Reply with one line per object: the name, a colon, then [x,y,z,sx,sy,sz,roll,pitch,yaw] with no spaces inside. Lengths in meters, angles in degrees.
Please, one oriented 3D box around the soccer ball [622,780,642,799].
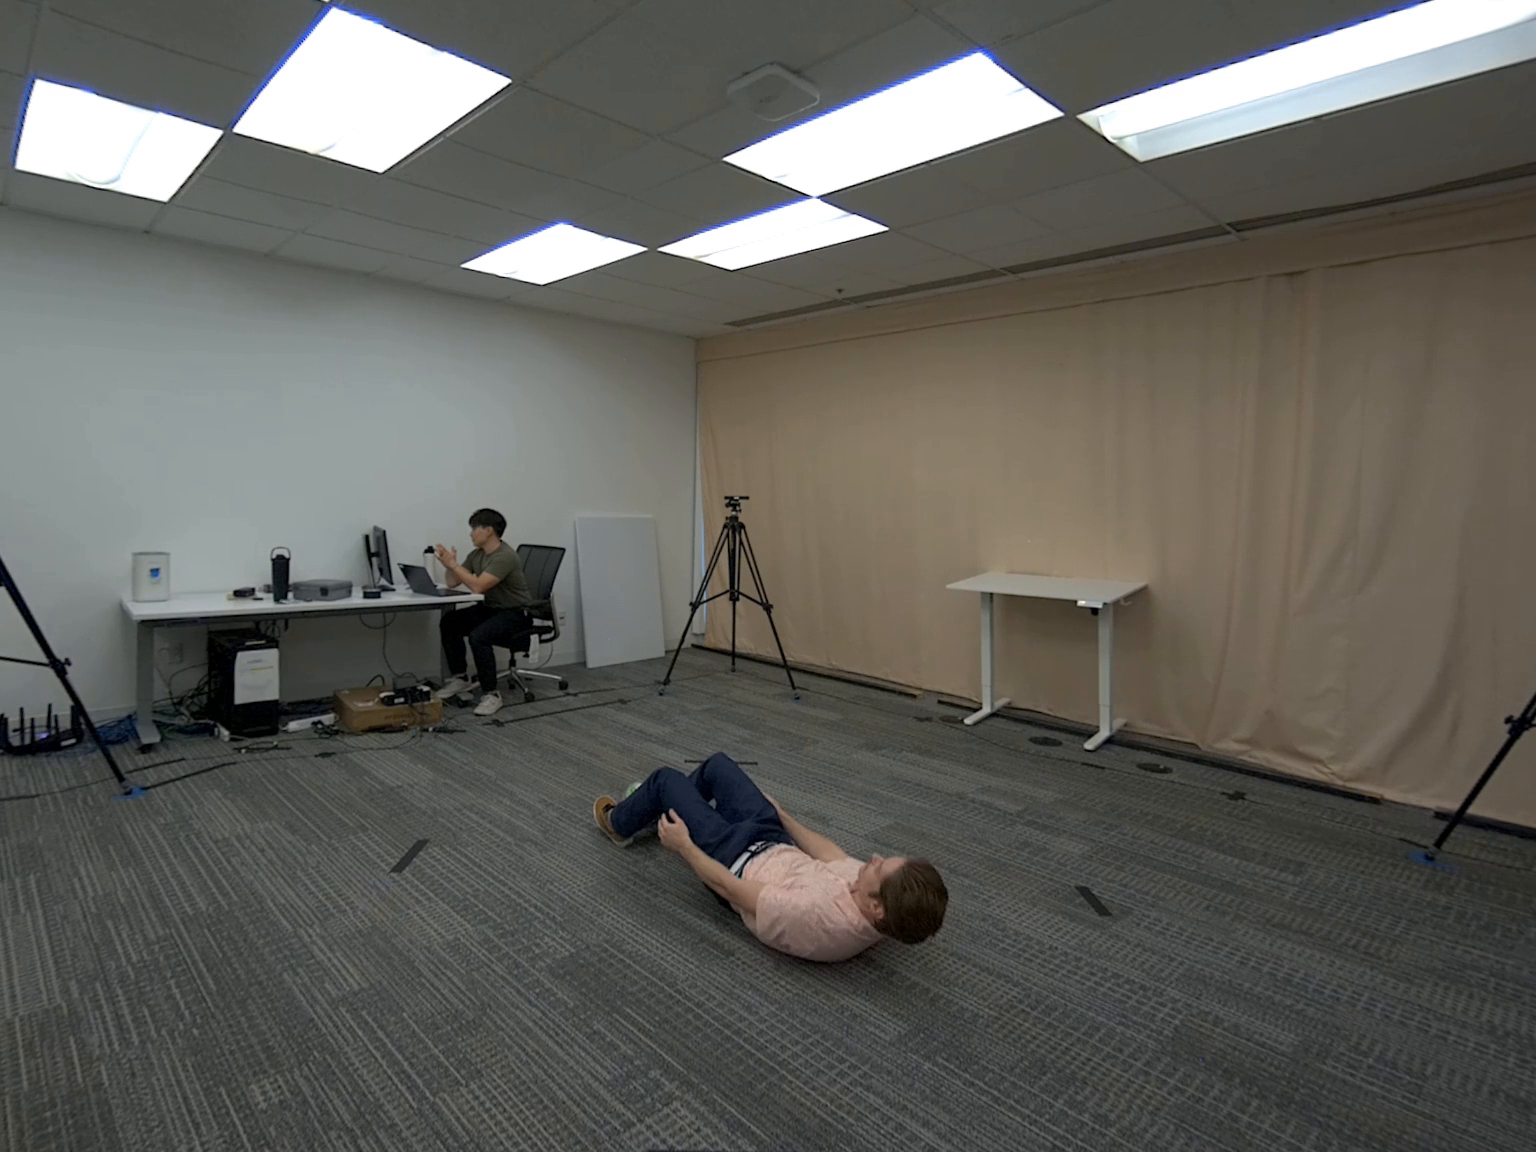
soccer ball: [-0.500,0.918,3.411,0.187,0.187,0.188,1,4,-1]
